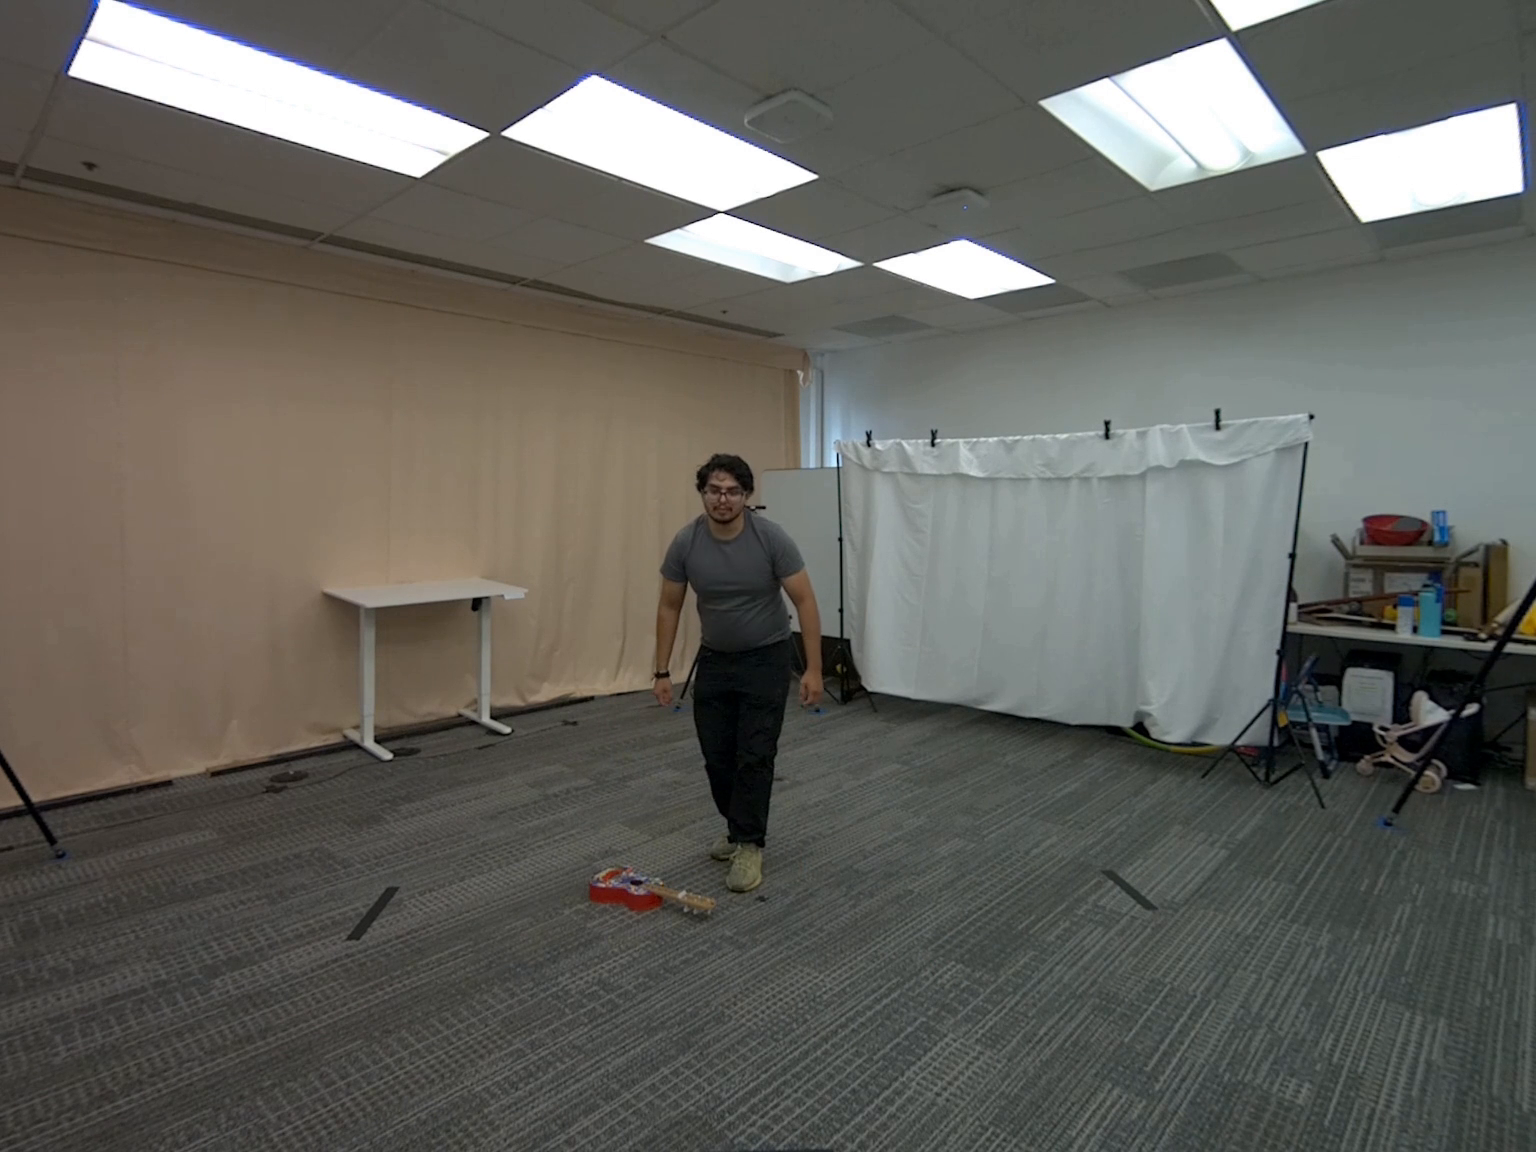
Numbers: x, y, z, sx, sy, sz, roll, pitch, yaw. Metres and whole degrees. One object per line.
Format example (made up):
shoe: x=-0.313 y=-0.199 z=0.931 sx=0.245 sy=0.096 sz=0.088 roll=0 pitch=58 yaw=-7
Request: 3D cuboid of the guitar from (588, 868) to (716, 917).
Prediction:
guitar: x=-0.420 y=1.121 z=2.922 sx=0.514 sy=0.070 sz=0.187 roll=3 pitch=5 yaw=40
